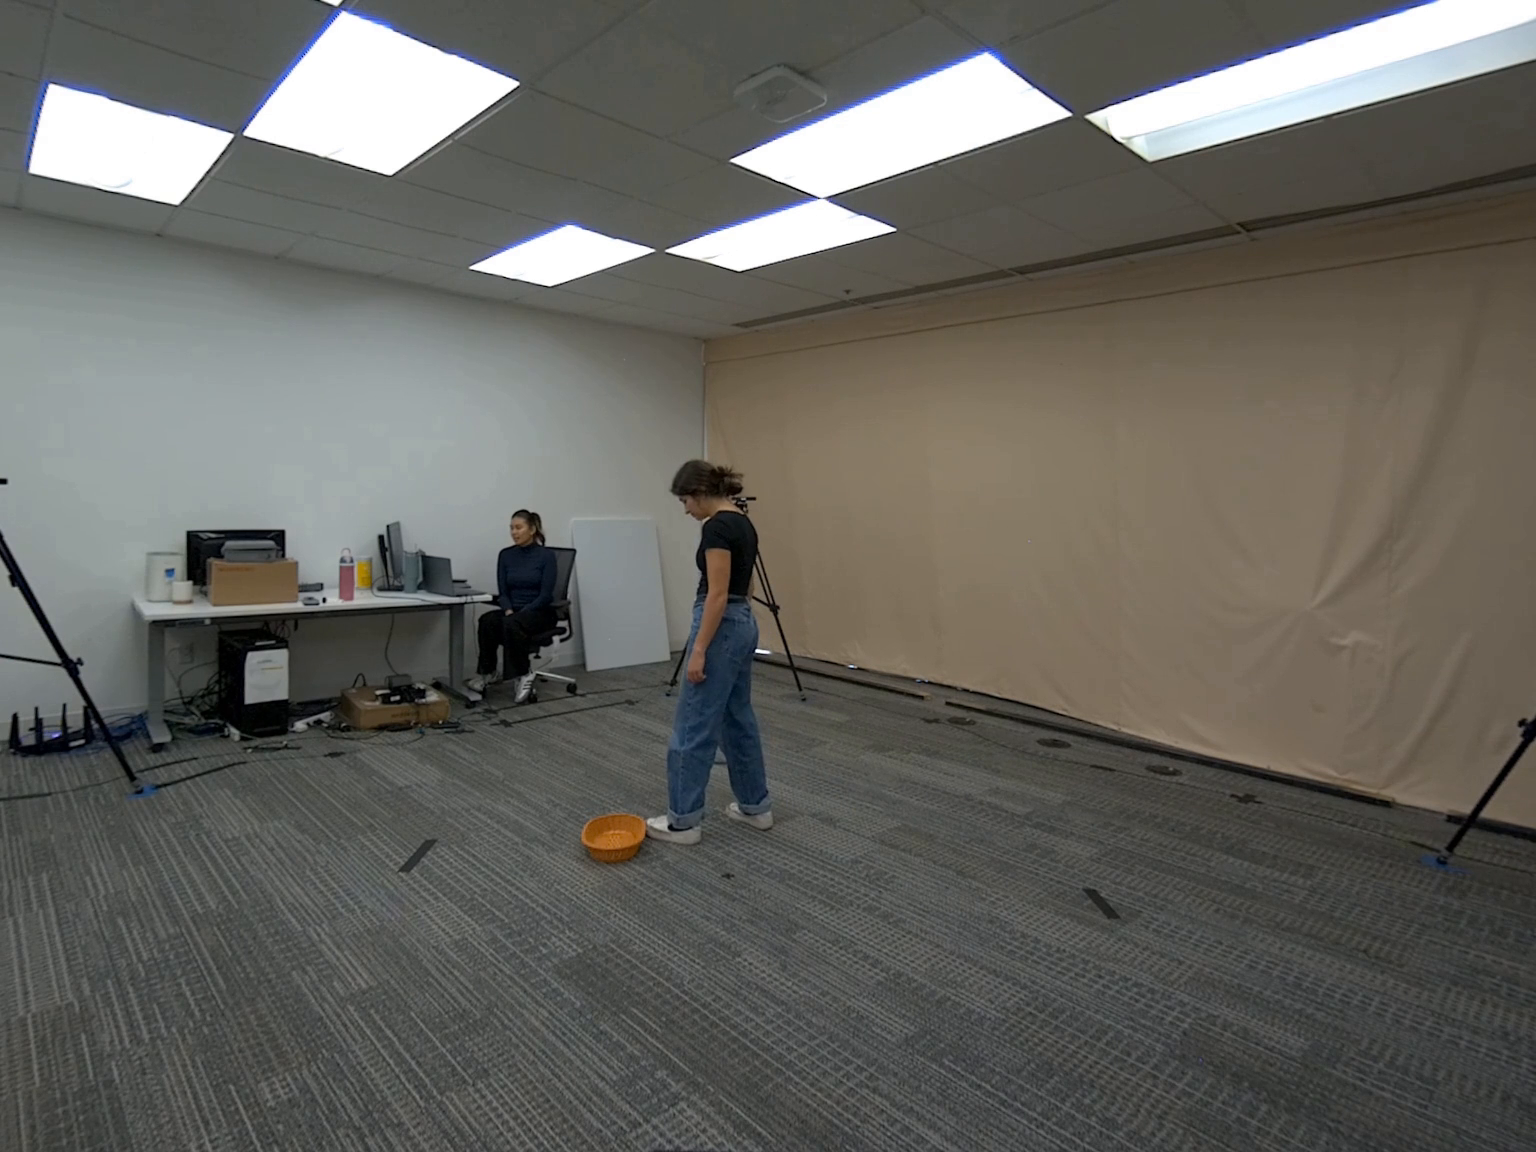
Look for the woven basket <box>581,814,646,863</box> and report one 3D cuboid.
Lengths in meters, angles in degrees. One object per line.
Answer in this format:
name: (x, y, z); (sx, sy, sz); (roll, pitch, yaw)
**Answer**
woven basket: (-0.618, 1.038, 3.326); (0.252, 0.073, 0.352); (0, 6, -2)
